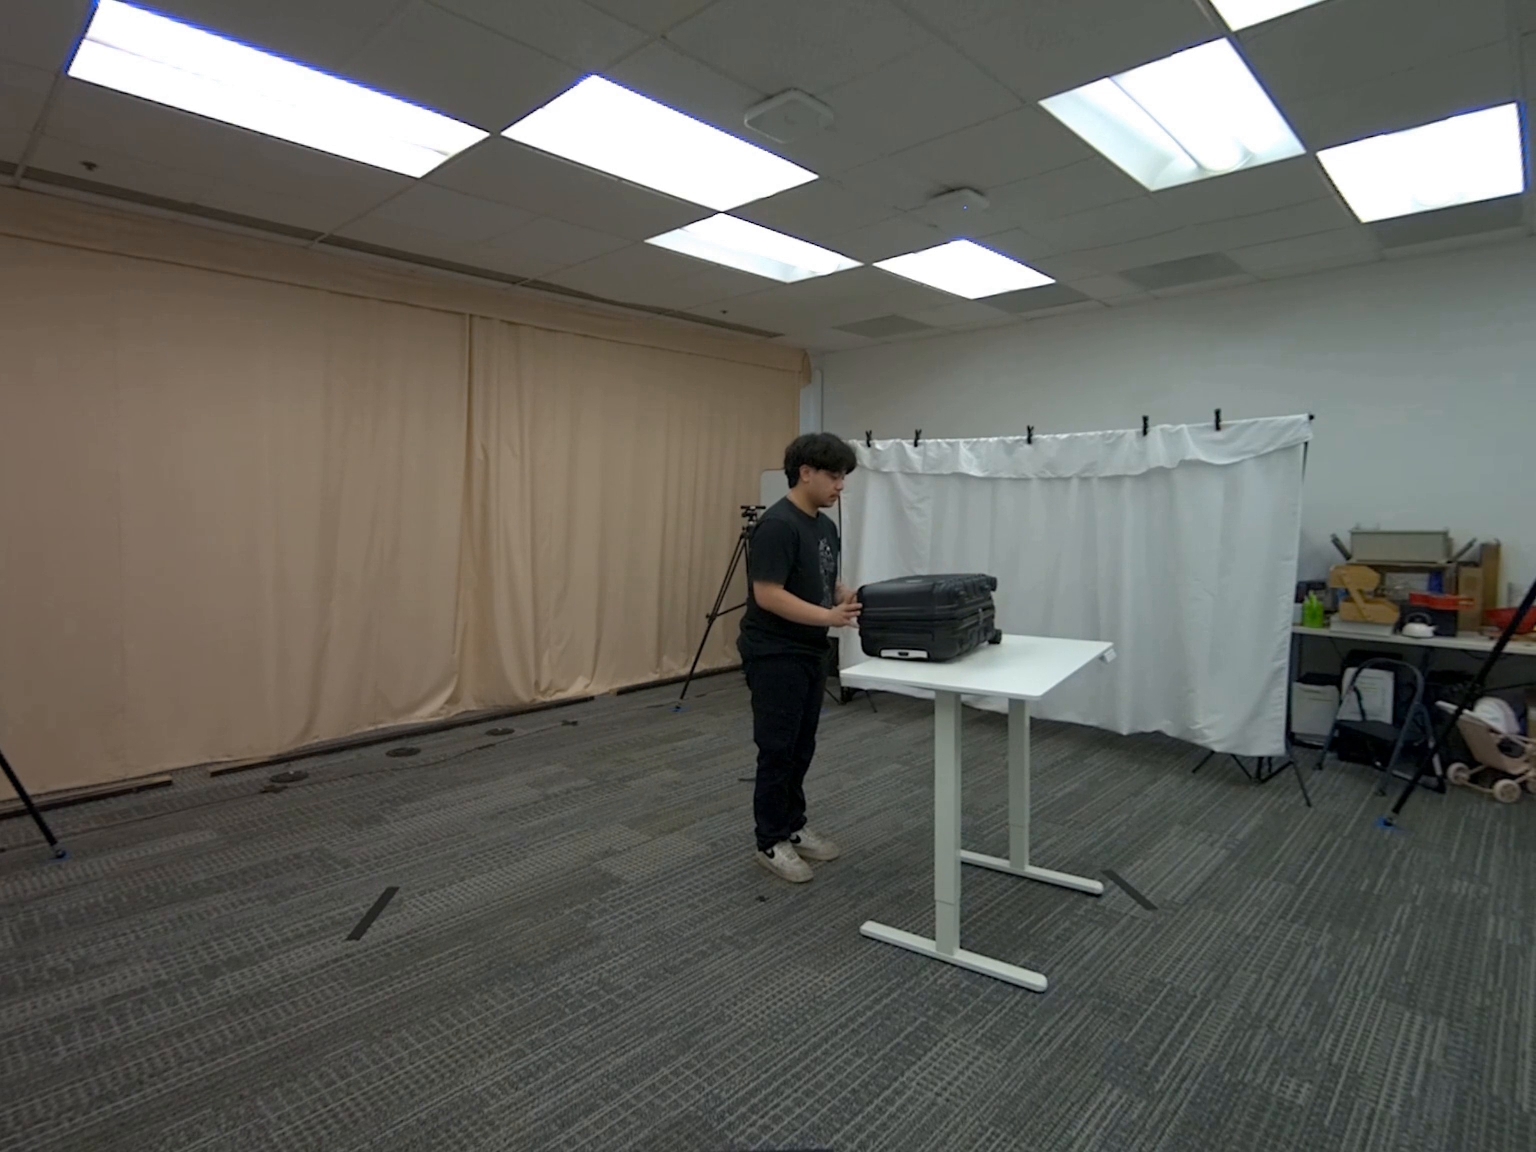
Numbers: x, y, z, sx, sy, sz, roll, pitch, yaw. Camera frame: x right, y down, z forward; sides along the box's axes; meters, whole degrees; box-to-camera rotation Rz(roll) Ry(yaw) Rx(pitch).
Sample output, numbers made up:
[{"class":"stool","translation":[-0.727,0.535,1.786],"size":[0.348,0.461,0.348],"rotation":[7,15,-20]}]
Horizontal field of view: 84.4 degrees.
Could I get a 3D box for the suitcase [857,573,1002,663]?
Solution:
[{"class":"suitcase","translation":[0.579,0.138,2.955],"size":[0.387,0.248,0.533],"rotation":[-1,3,35]}]
